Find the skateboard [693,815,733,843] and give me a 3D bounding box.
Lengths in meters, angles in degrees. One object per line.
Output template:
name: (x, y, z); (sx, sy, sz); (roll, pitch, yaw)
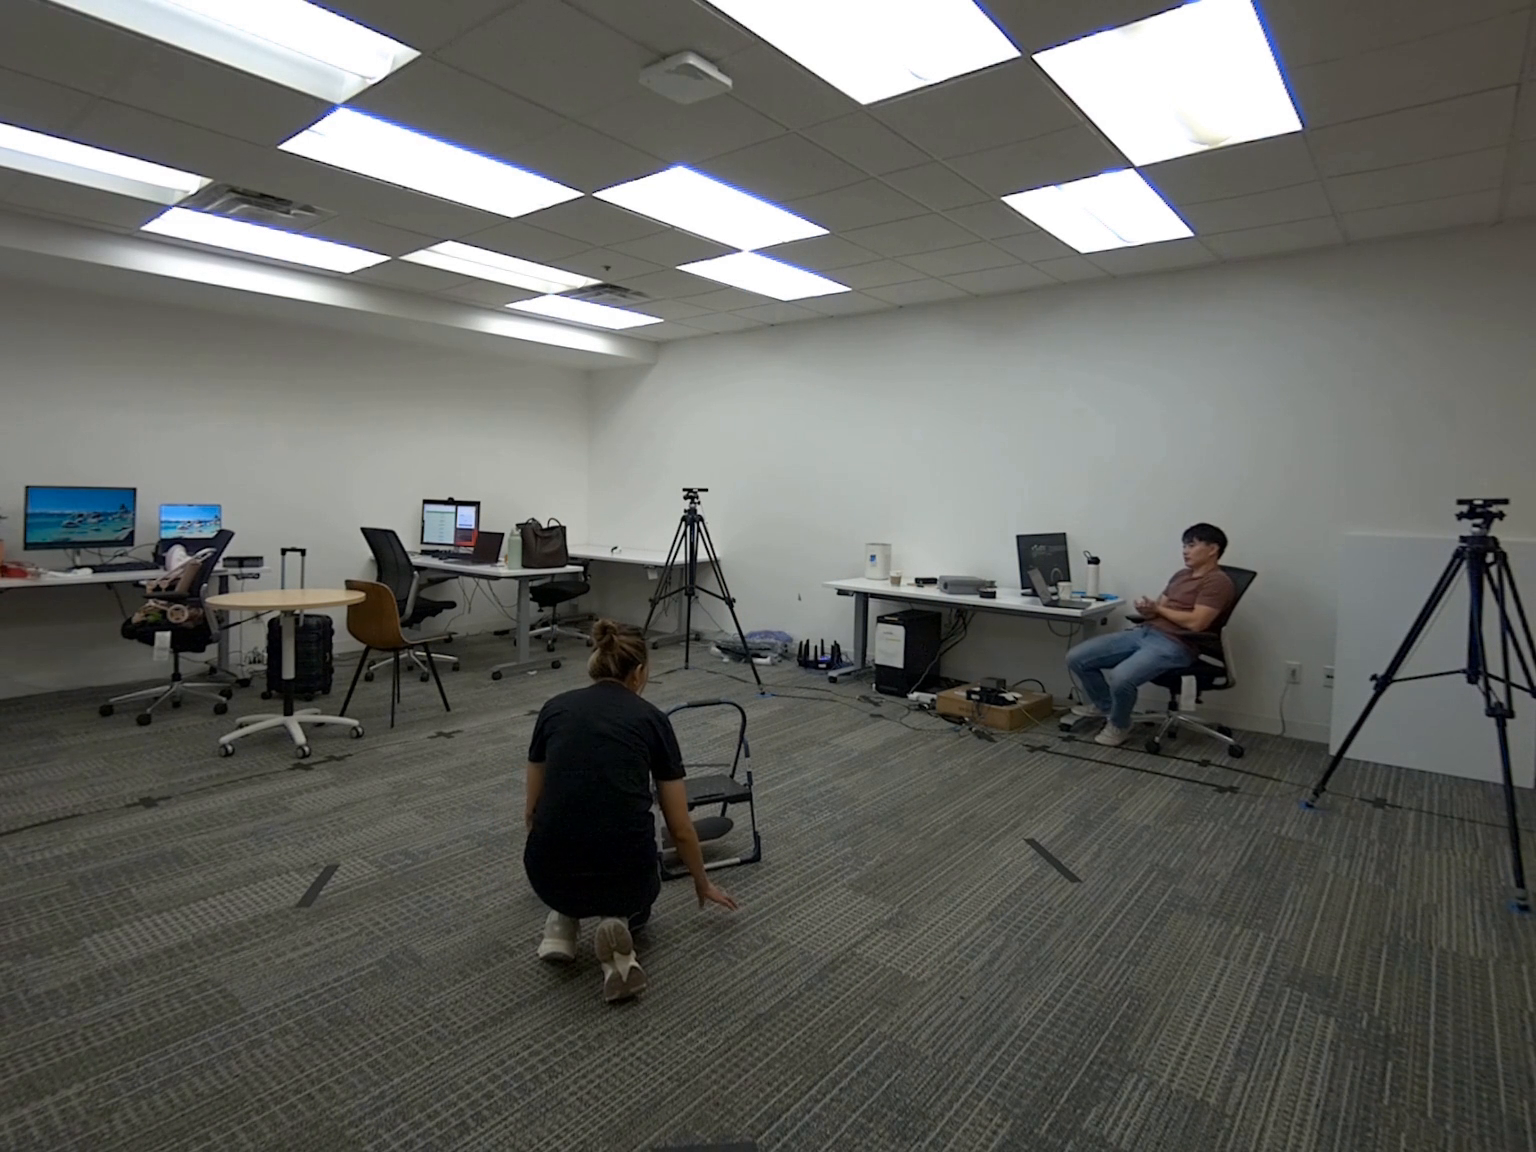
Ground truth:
skateboard: (-0.484, 1.005, 3.107); (0.764, 0.110, 0.199); (-2, 6, -31)
